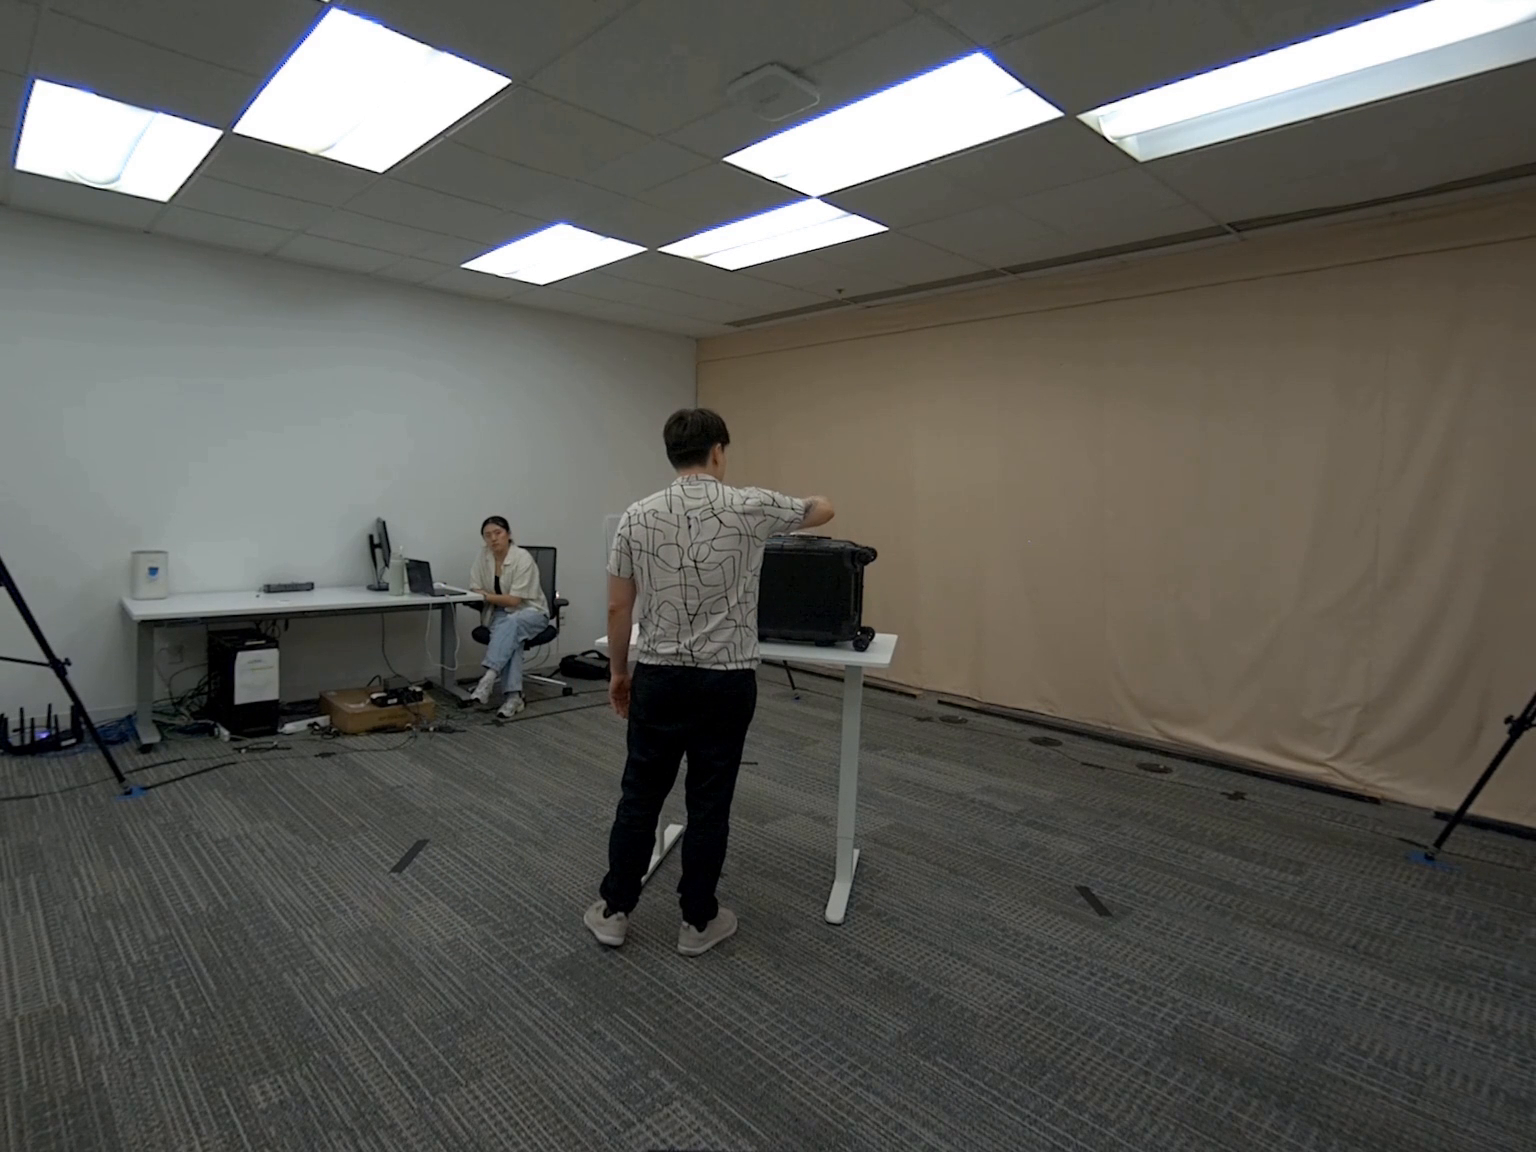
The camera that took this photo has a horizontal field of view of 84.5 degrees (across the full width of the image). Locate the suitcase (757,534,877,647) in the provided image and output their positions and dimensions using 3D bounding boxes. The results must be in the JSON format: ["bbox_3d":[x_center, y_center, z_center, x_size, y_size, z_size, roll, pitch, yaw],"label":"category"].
[{"bbox_3d":[0.104,0.043,3.028,0.557,0.374,0.246,3,4,16],"label":"suitcase"}]
